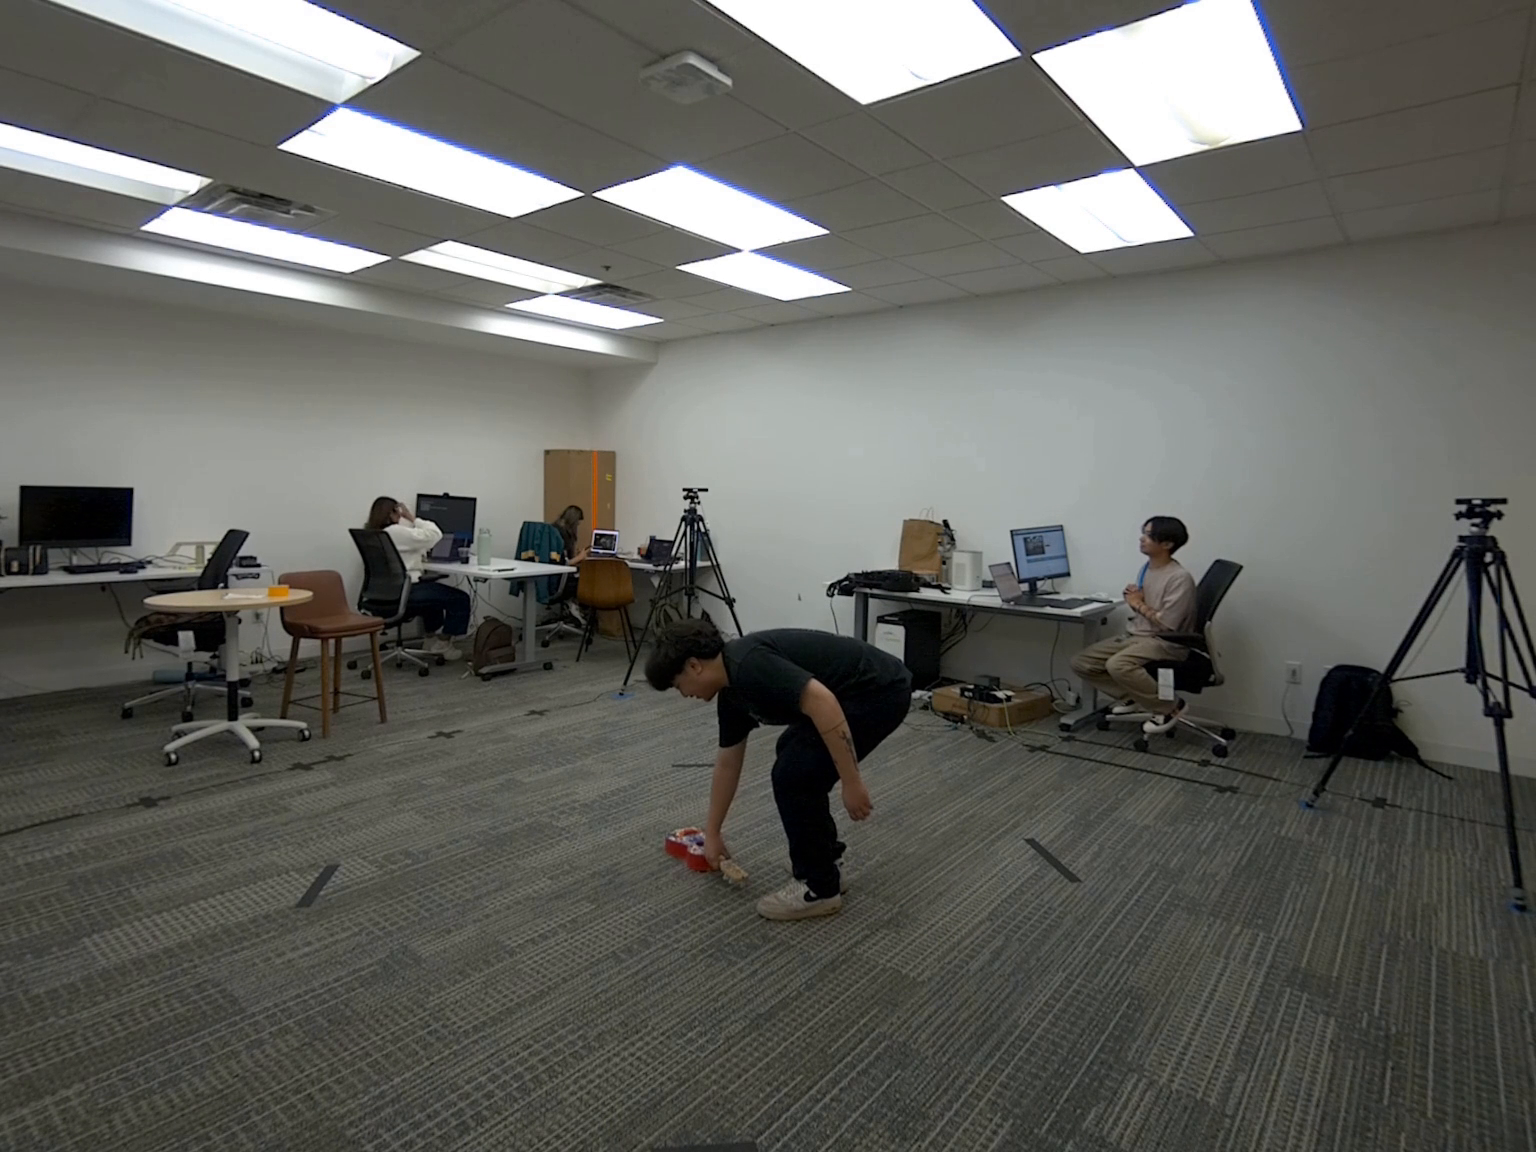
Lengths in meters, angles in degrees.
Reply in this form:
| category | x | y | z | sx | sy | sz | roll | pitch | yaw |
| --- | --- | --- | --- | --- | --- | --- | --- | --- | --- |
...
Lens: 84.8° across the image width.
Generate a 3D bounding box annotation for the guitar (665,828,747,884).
| category | x | y | z | sx | sy | sz | roll | pitch | yaw |
| --- | --- | --- | --- | --- | --- | --- | --- | --- | --- |
| guitar | -0.244 | 1.029 | 3.113 | 0.189 | 0.070 | 0.509 | -1 | 5 | -20 |
